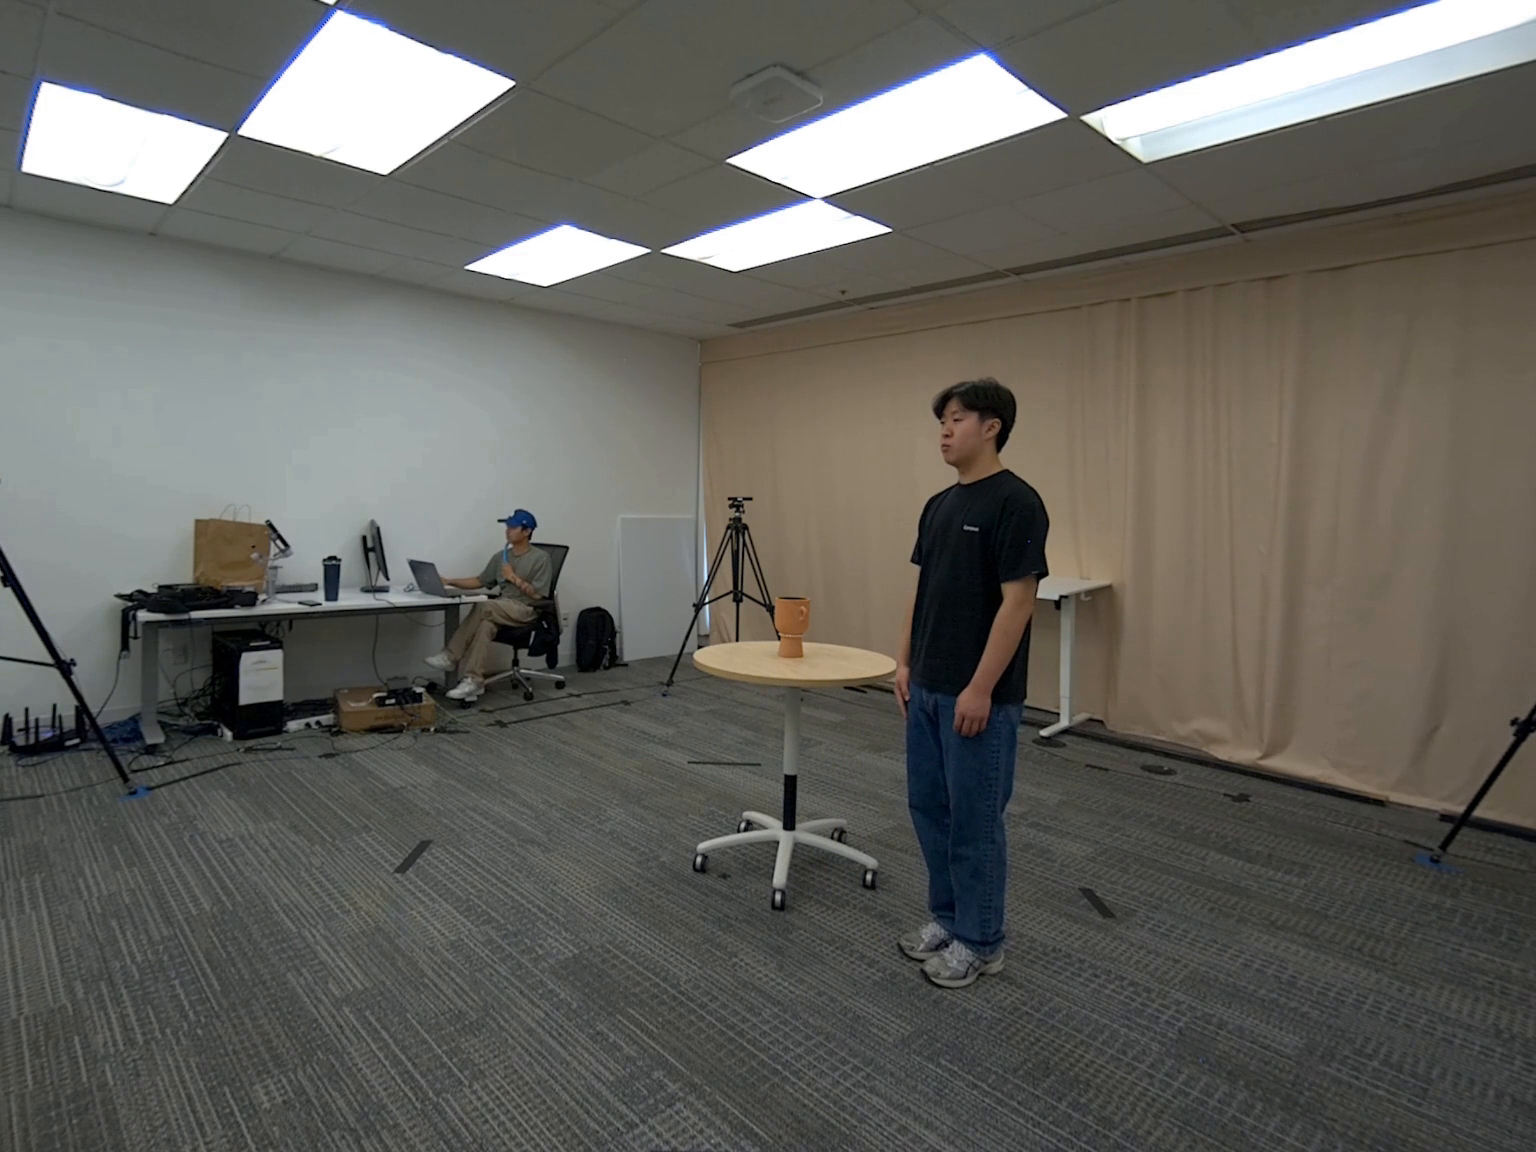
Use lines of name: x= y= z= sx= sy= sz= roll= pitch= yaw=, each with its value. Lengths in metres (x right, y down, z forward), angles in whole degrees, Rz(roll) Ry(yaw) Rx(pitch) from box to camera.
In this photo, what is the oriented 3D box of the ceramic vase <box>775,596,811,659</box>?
ceramic vase: x=0.082 y=0.198 z=3.219 sx=0.136 sy=0.219 sz=0.157 roll=2 pitch=3 yaw=11
